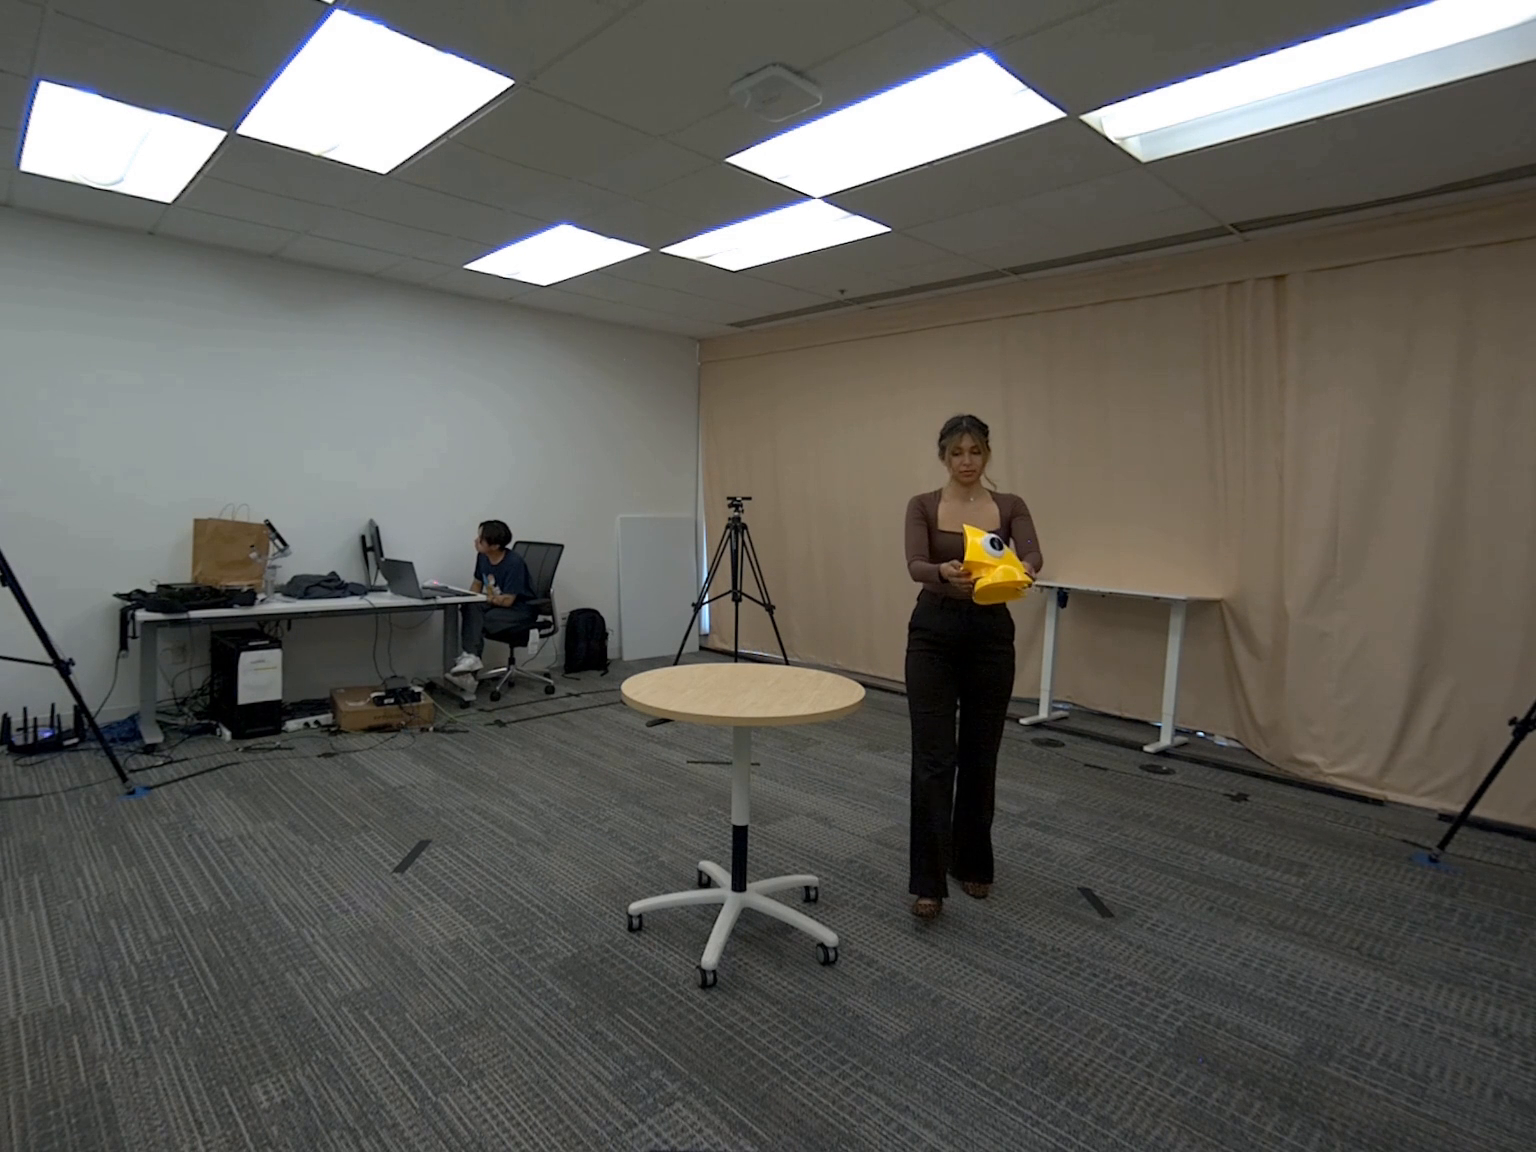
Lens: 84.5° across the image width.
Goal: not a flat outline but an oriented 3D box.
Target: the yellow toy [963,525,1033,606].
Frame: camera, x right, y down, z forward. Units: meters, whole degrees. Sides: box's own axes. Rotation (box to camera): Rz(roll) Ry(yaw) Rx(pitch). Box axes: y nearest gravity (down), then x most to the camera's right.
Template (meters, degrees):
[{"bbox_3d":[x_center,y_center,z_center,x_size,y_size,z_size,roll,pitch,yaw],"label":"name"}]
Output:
[{"bbox_3d":[0.652,-0.057,2.518,0.194,0.234,0.200,-6,-22,7],"label":"yellow toy"}]
